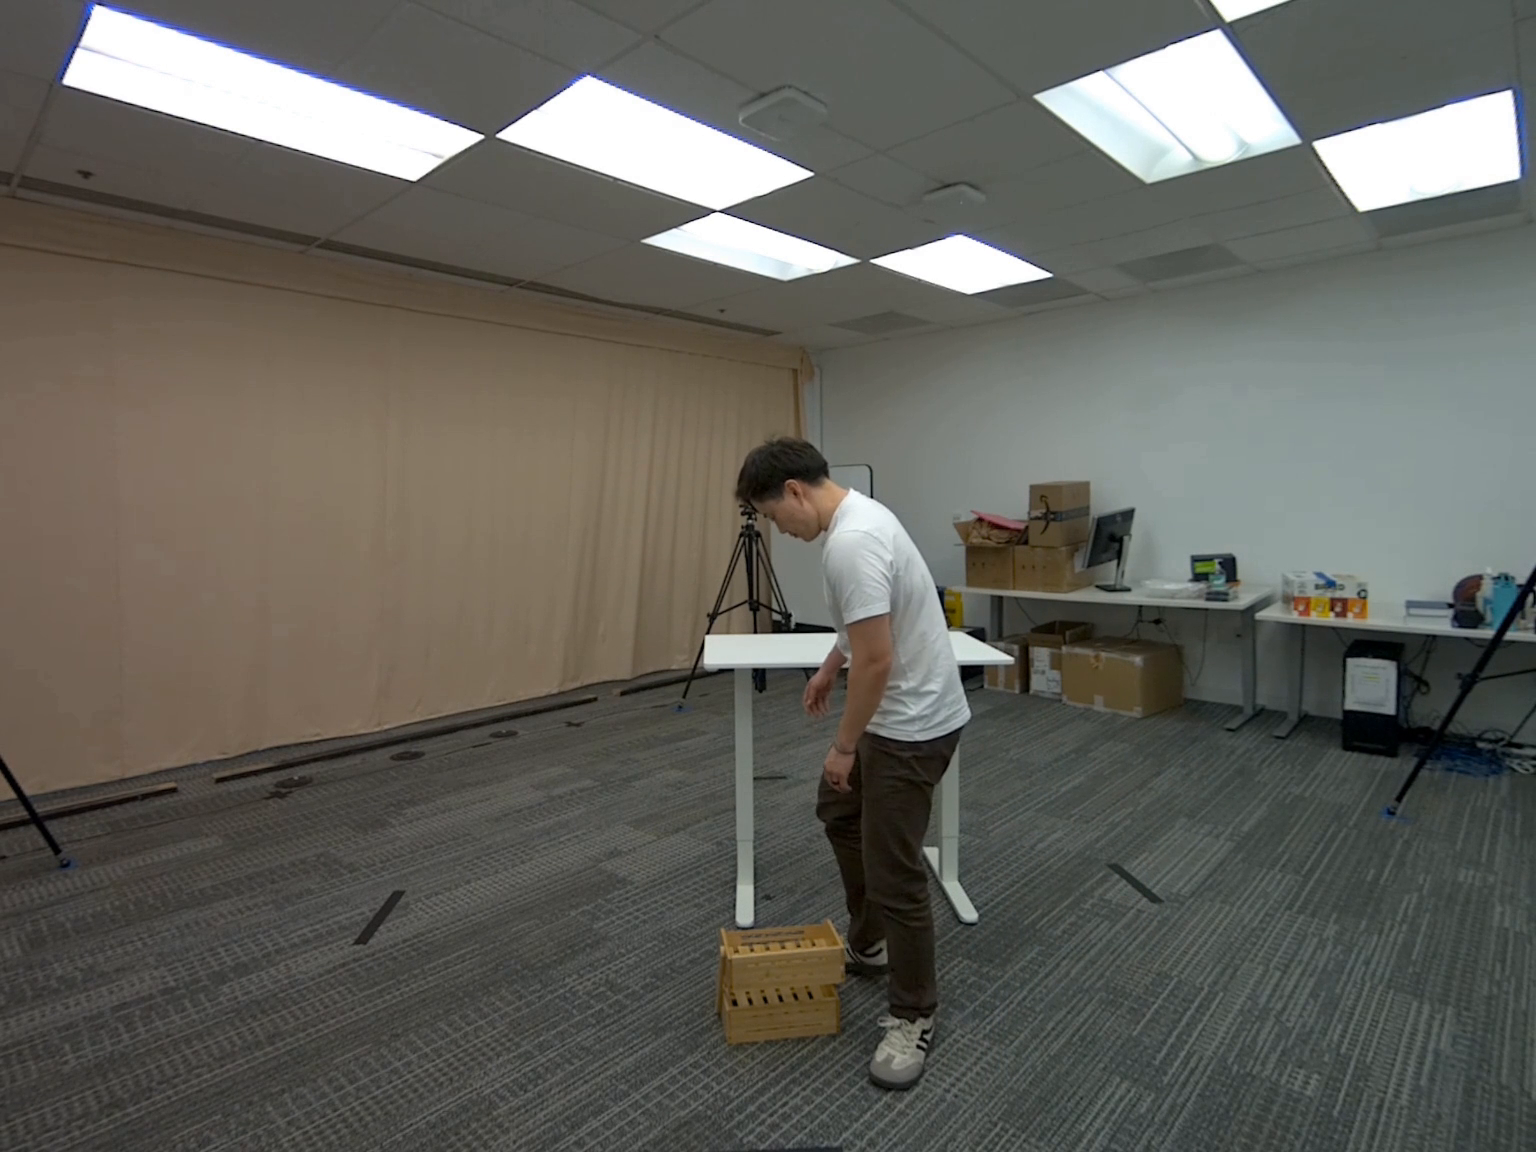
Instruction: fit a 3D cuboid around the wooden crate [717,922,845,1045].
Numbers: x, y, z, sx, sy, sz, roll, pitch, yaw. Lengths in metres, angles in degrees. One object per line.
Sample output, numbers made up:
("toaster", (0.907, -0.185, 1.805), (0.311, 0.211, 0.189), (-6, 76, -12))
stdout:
("wooden crate", (0.029, 1.062, 2.286), (0.321, 0.273, 0.305), (-1, 4, -9))
